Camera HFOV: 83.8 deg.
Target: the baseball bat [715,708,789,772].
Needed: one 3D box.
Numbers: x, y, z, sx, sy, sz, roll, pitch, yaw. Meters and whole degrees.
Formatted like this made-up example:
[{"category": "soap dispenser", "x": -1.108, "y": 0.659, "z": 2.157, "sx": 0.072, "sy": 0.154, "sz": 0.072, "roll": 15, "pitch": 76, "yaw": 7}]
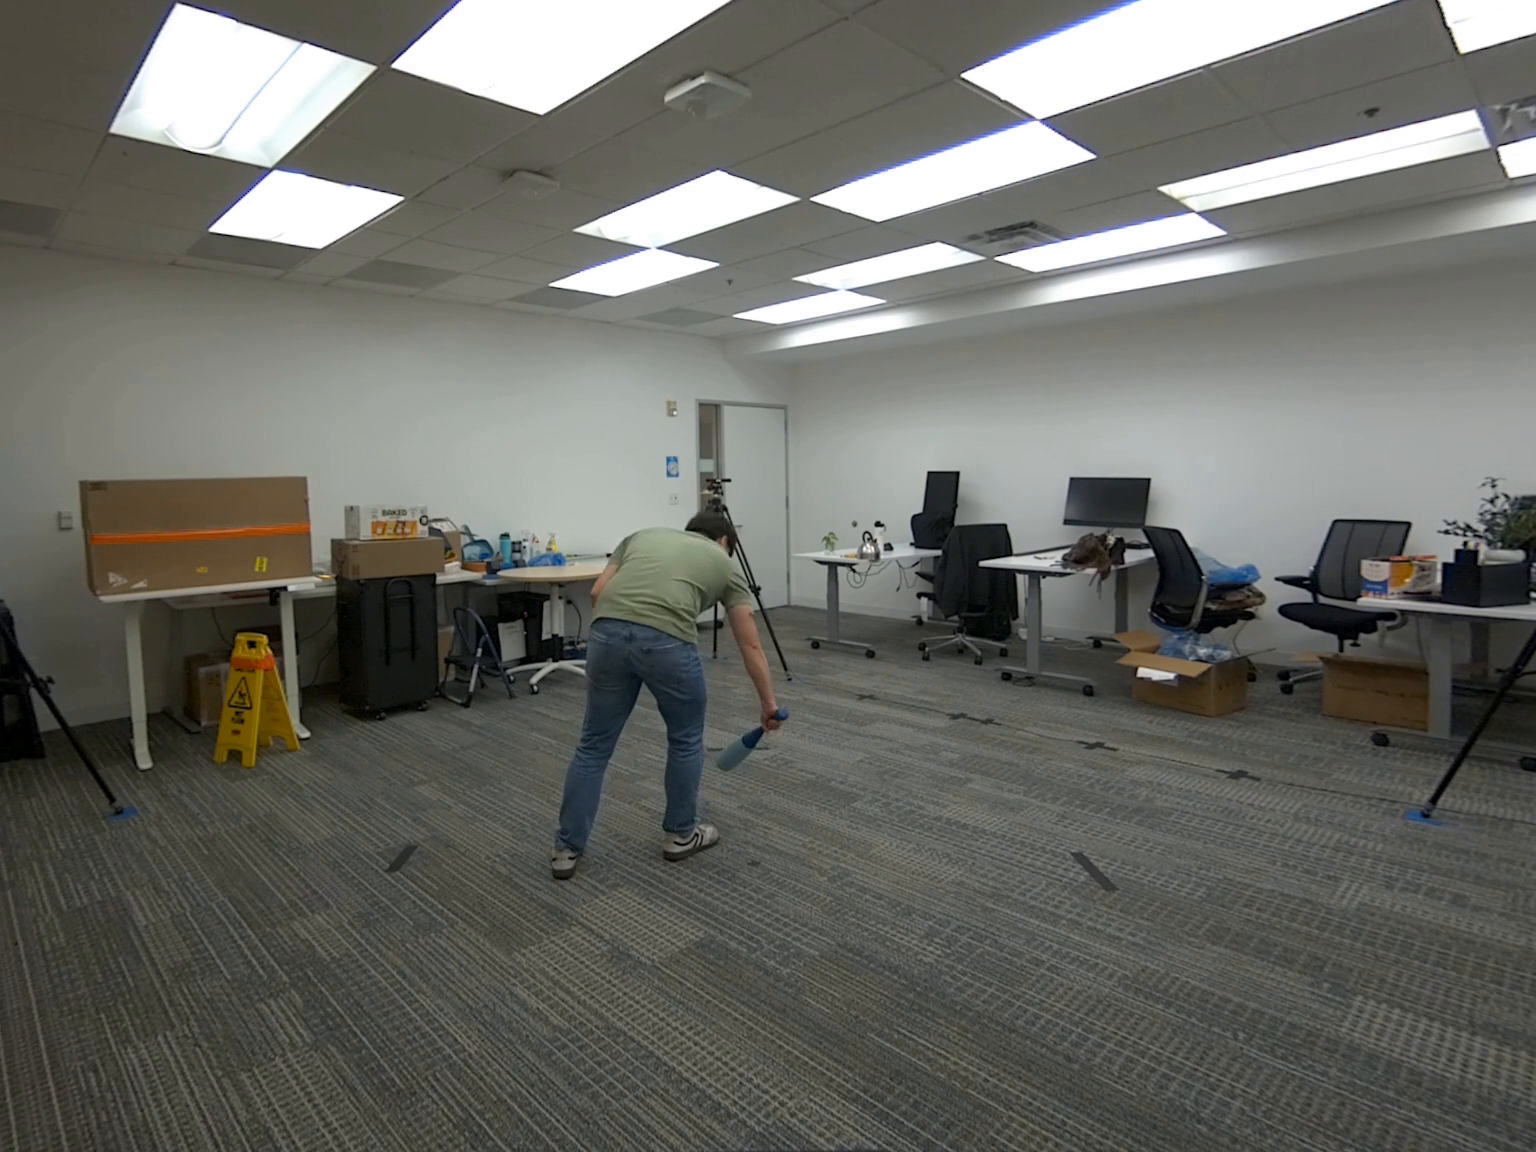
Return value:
[{"category": "baseball bat", "x": -0.087, "y": 0.657, "z": 3.414, "sx": 0.087, "sy": 0.091, "sz": 0.541, "roll": -3, "pitch": -29, "yaw": -33}]
